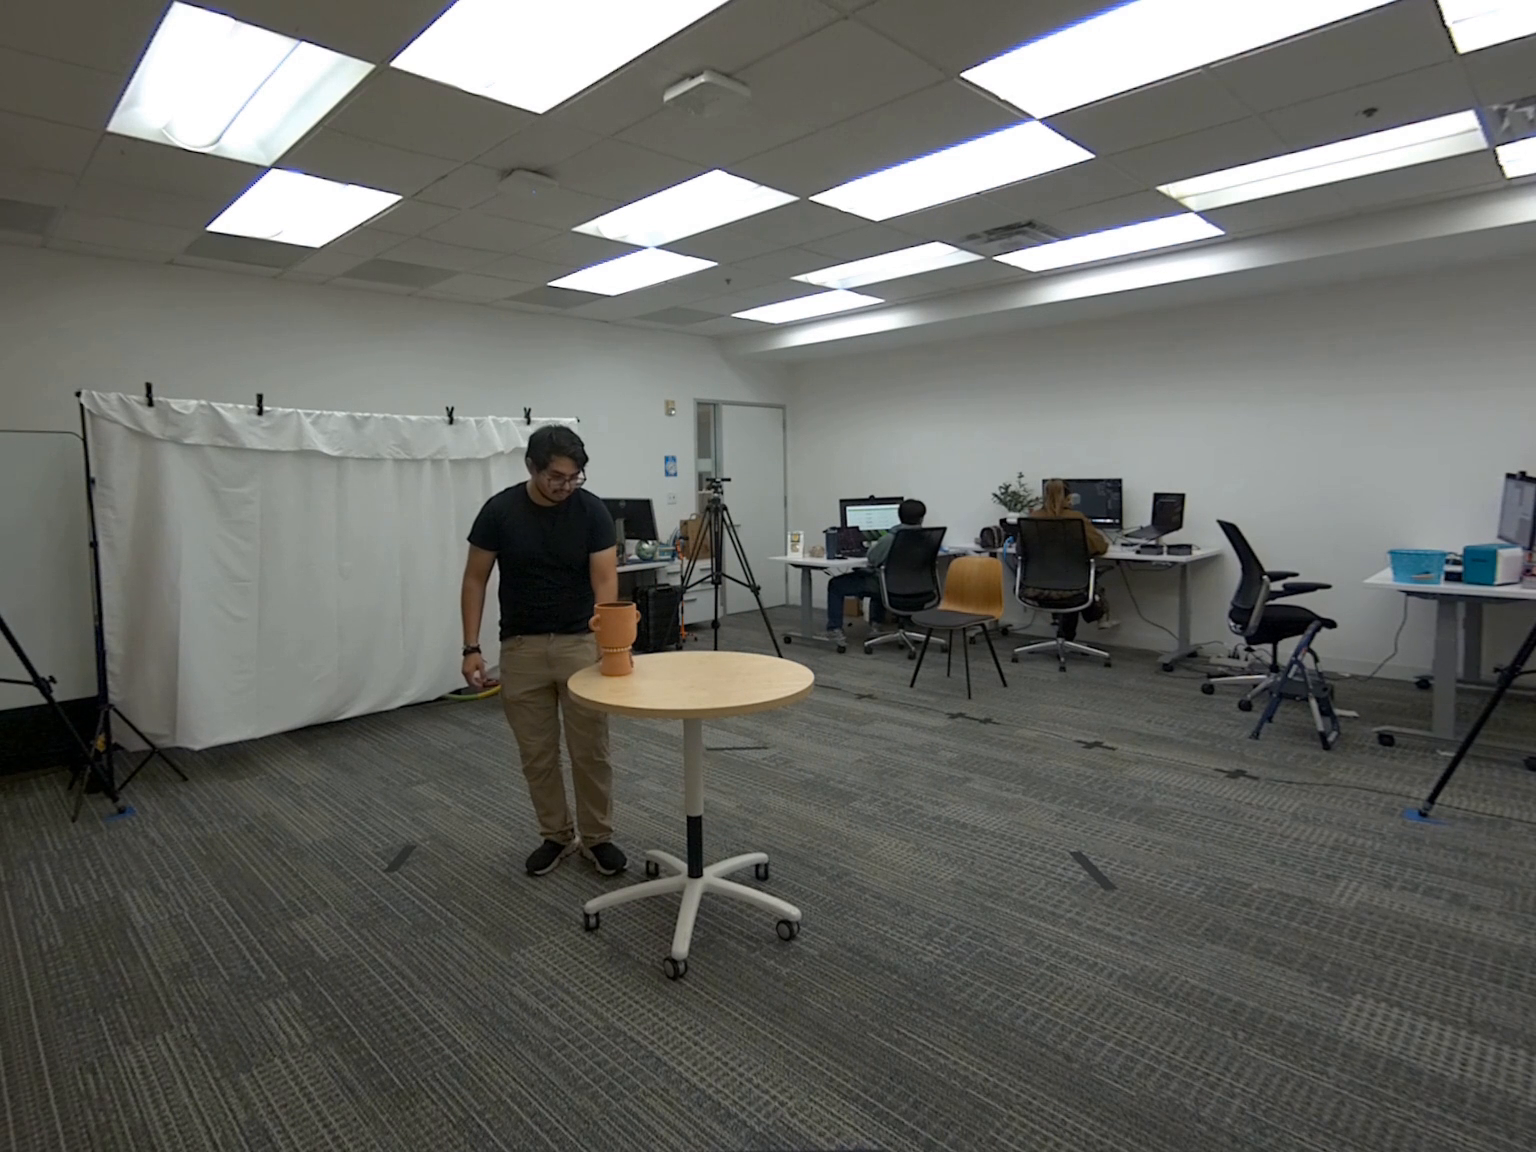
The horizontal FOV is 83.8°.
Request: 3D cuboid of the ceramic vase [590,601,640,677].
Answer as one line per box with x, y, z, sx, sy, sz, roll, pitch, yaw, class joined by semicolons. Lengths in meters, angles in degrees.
-0.474;0.197;2.730;0.158;0.219;0.136;-2;5;-7;ceramic vase
